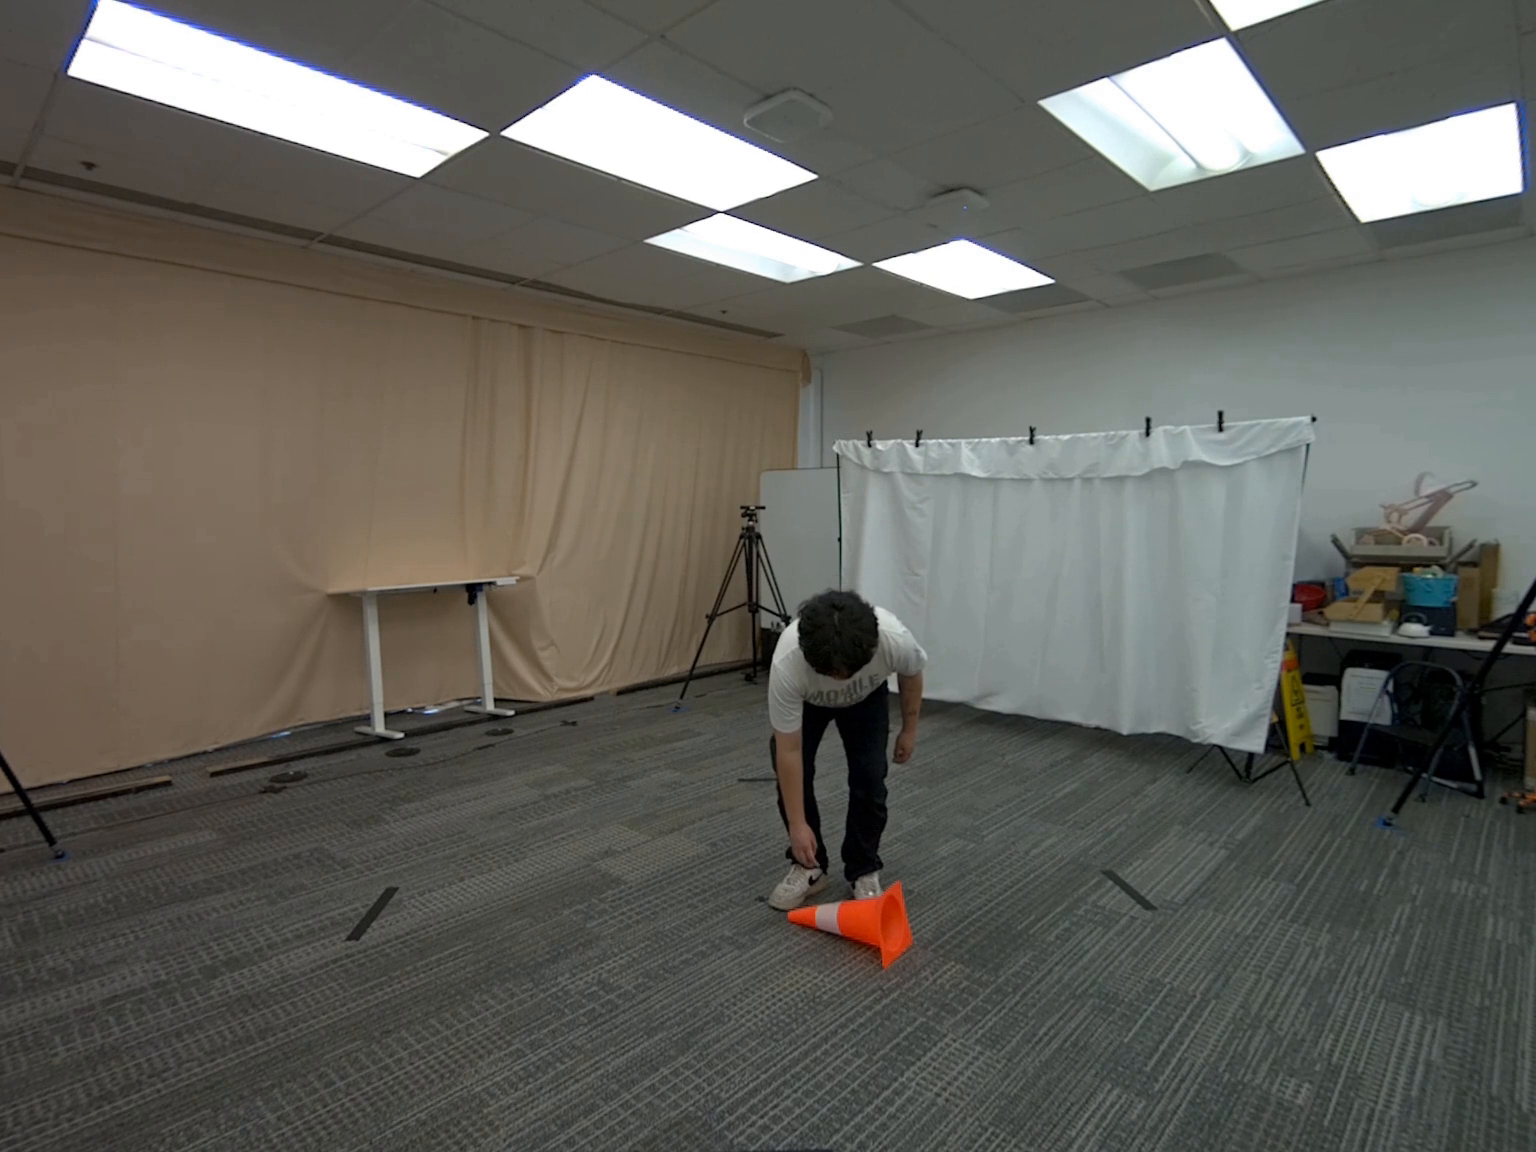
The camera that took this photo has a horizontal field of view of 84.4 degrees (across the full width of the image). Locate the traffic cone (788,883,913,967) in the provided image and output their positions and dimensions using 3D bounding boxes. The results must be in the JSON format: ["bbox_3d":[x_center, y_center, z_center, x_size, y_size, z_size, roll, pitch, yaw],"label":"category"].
[{"bbox_3d":[0.232,1.111,2.719,0.393,0.204,0.199,-13,-5,33],"label":"traffic cone"}]
